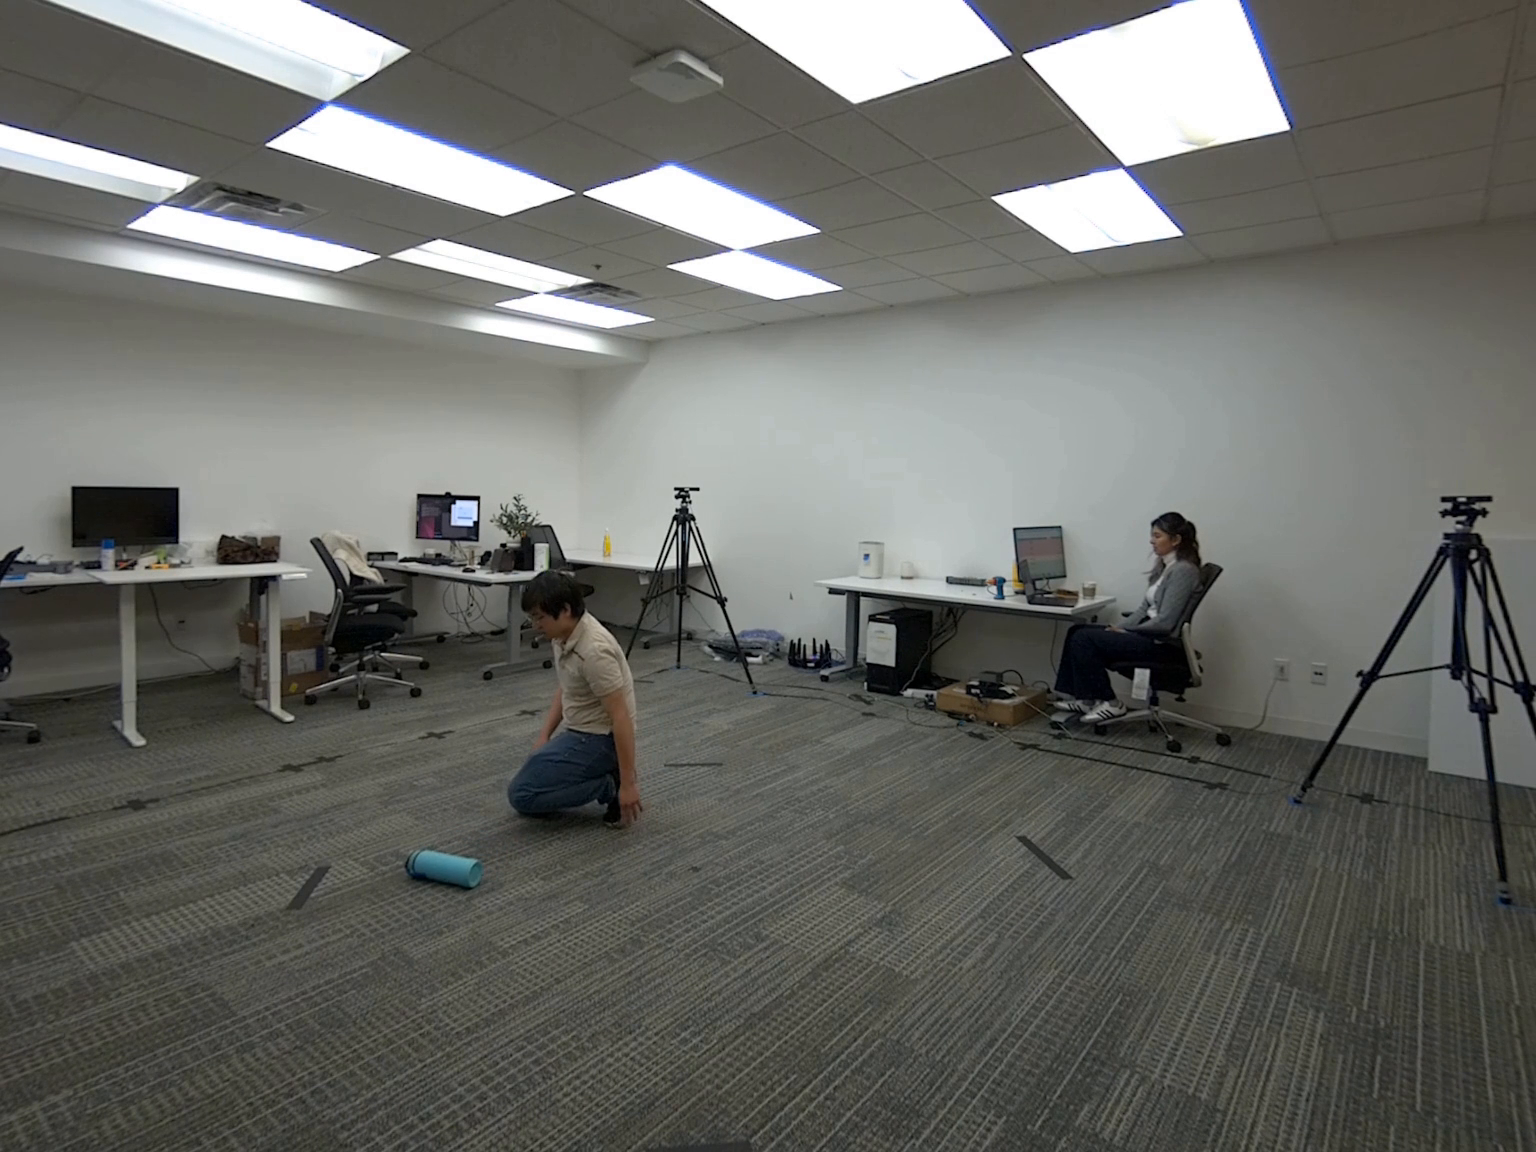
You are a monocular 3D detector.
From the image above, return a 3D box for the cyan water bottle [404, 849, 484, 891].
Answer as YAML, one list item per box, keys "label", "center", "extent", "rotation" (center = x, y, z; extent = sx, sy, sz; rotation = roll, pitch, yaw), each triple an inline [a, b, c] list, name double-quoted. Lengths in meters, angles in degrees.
- label: "cyan water bottle"
  center: [-1.152, 1.016, 2.985]
  extent: [0.288, 0.092, 0.091]
  rotation: [2, 4, 16]
